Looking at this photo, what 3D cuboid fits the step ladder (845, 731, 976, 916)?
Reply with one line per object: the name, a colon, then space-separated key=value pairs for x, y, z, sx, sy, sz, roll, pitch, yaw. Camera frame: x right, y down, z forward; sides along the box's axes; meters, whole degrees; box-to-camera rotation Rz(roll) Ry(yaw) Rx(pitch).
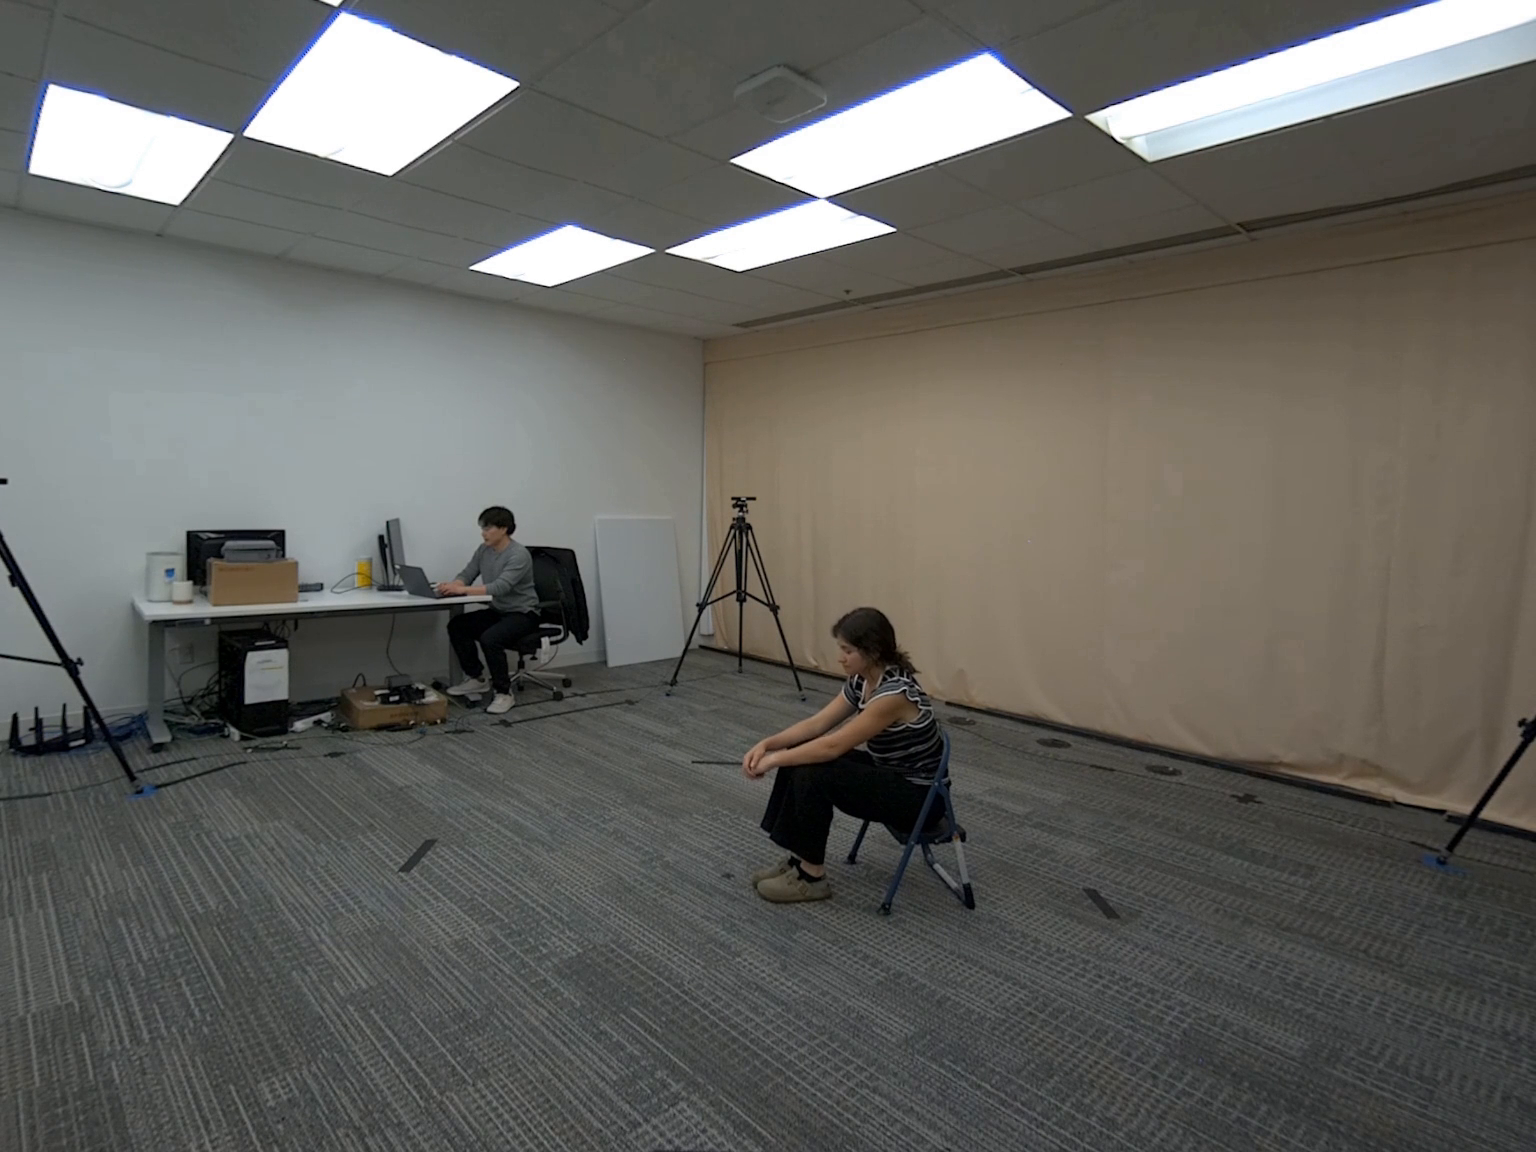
step ladder: x=0.506 y=0.832 z=3.055 sx=0.346 sy=0.604 sz=0.435 roll=1 pitch=5 yaw=-10
